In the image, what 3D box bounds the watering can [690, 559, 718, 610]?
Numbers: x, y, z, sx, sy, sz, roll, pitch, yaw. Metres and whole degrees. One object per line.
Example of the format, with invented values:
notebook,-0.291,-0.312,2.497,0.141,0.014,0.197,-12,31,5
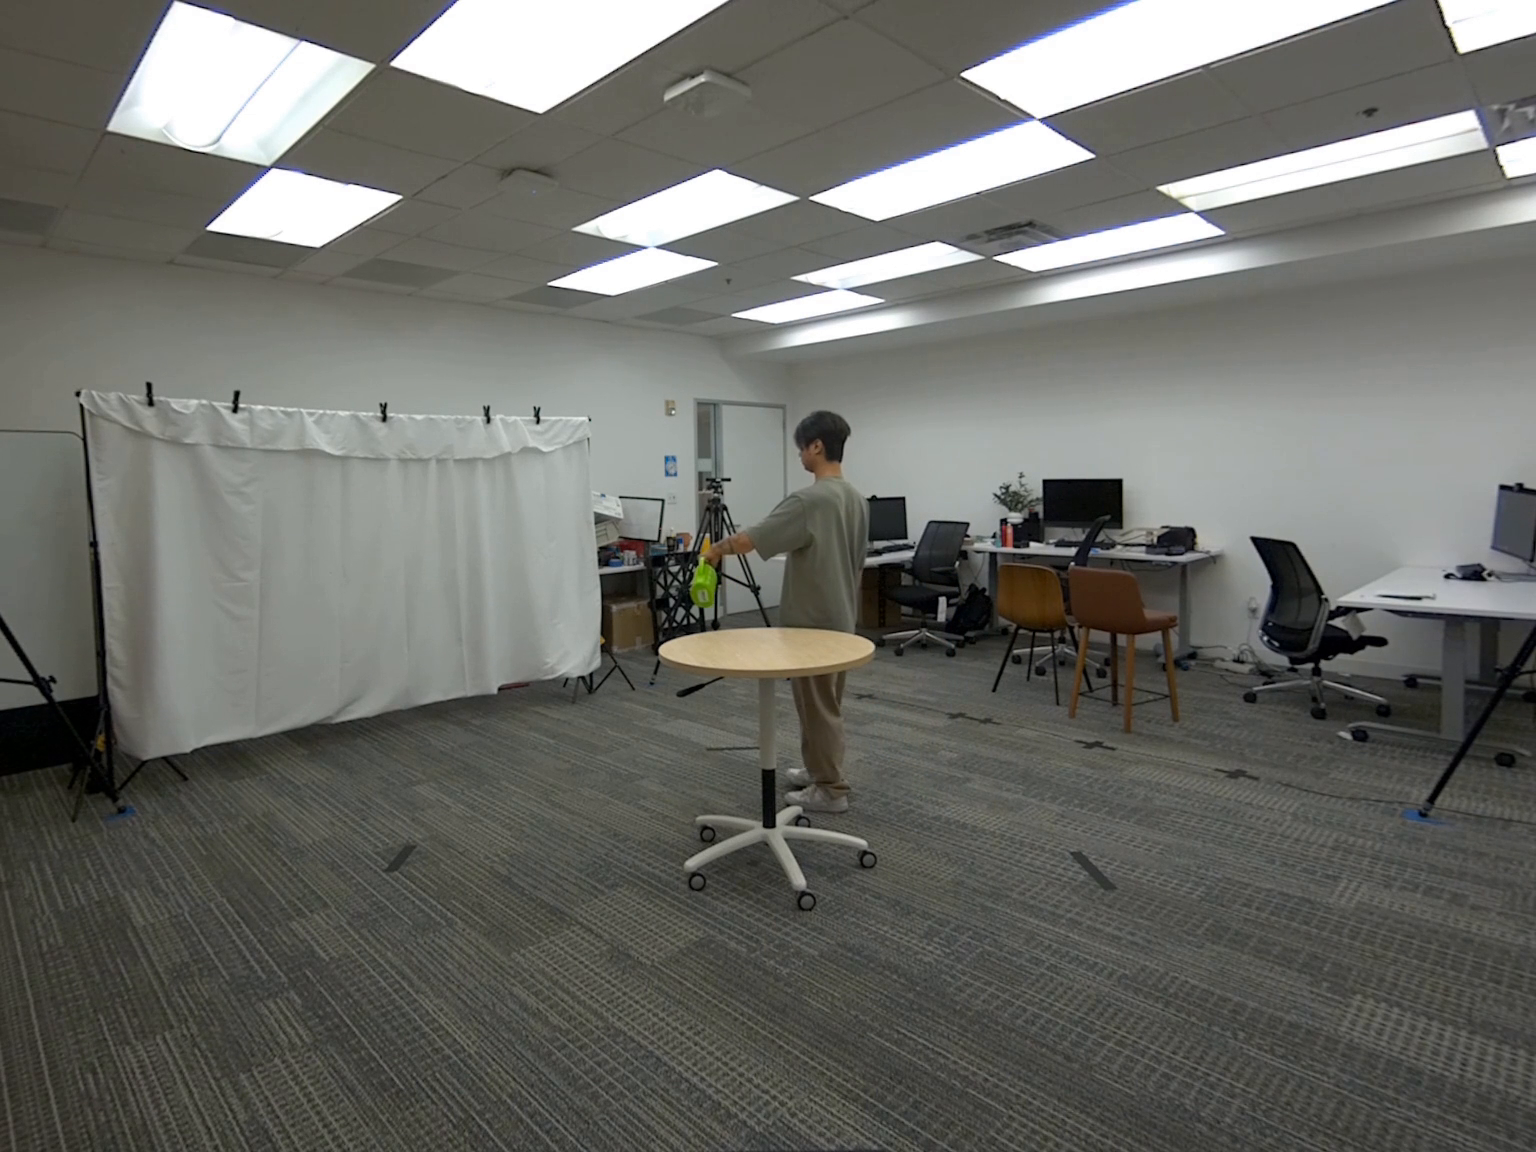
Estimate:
watering can,-0.239,0.056,3.523,0.099,0.269,0.181,-15,34,15
